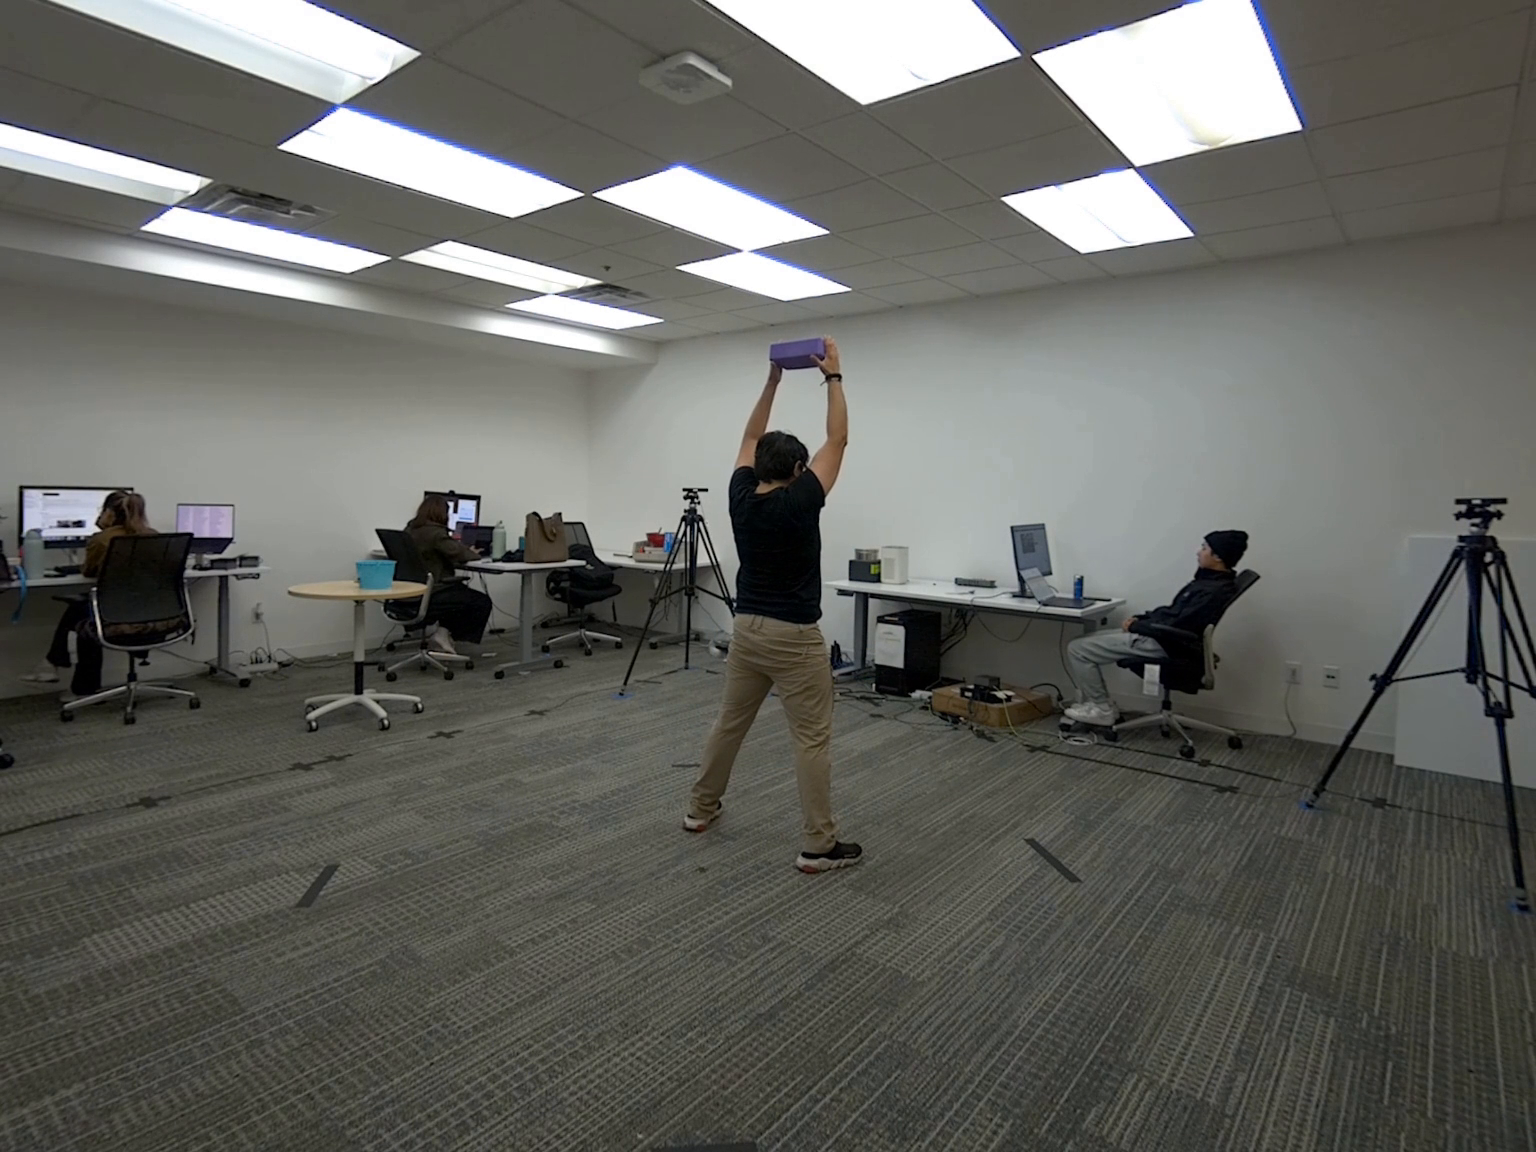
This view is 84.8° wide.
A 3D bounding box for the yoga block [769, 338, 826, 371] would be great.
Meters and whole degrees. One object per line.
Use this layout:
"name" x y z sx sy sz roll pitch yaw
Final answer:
"yoga block" 0.126 -0.893 3.395 0.236 0.077 0.144 2 -4 33
